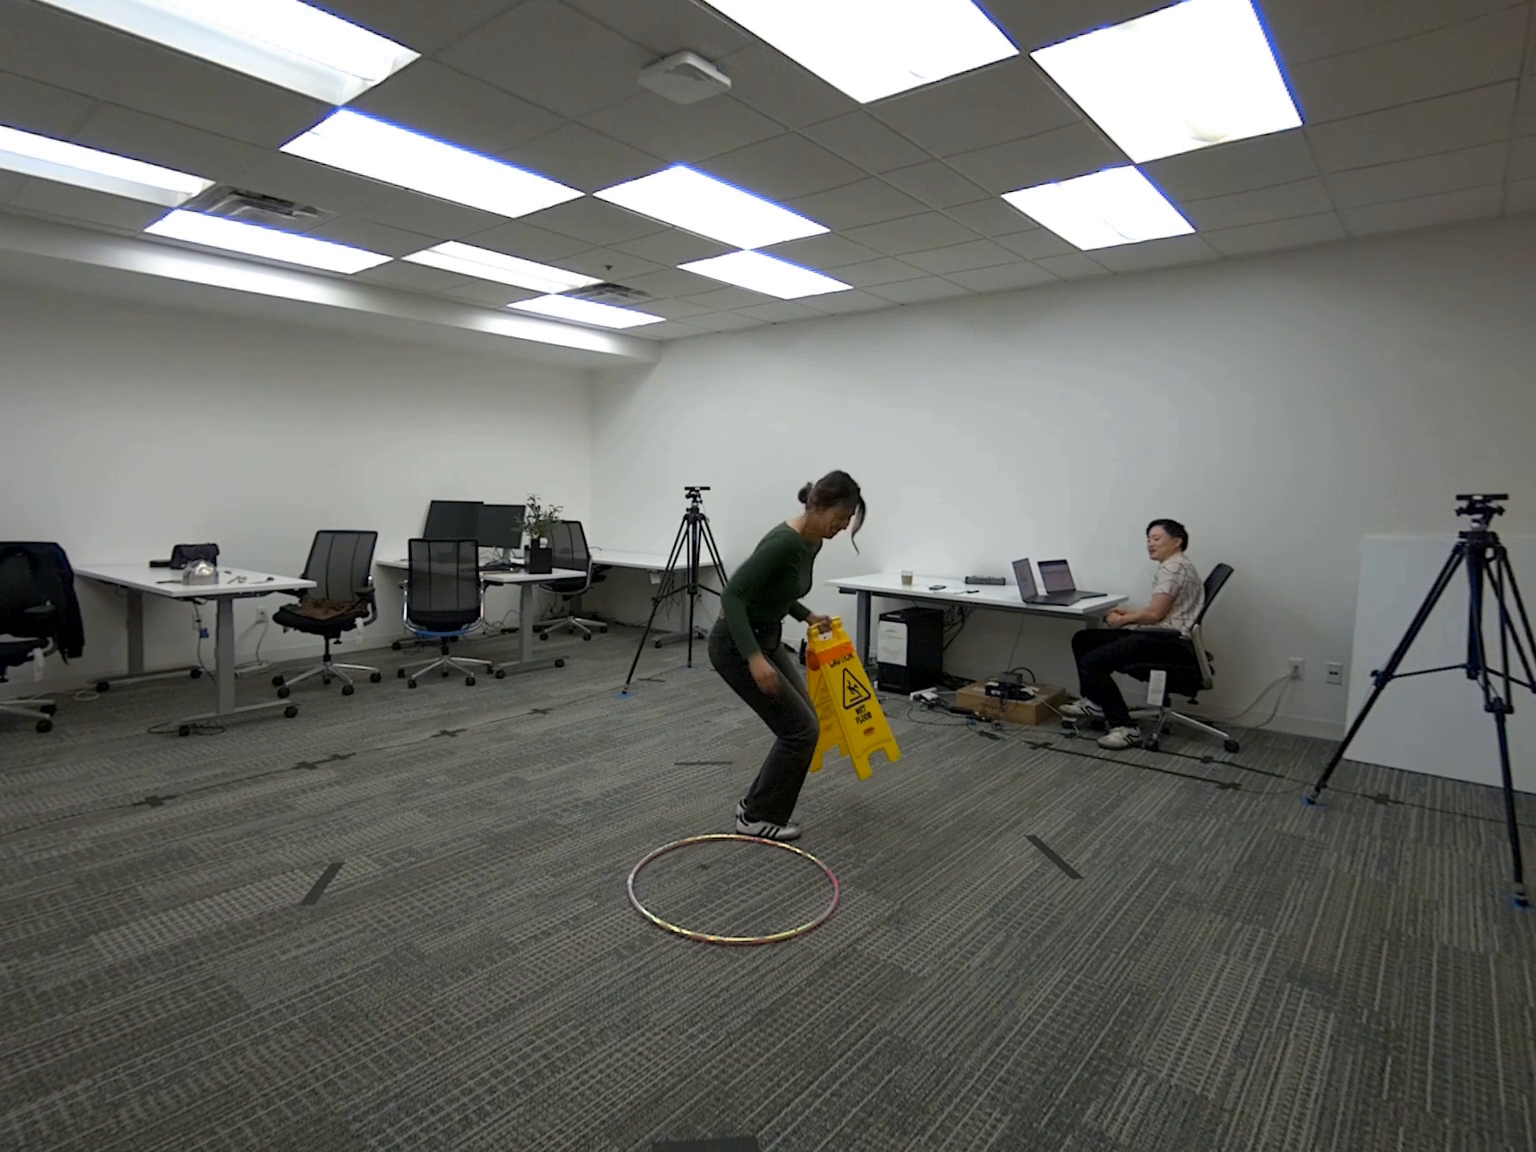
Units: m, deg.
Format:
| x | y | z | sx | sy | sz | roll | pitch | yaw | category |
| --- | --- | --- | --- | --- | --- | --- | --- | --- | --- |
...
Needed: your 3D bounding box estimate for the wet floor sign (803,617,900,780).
| x | y | z | sx | sy | sz | roll | pitch | yaw | category |
| --- | --- | --- | --- | --- | --- | --- | --- | --- | --- |
| 0.289 | 0.482 | 3.694 | 0.276 | 0.644 | 0.297 | -15 | 4 | -41 | wet floor sign |
